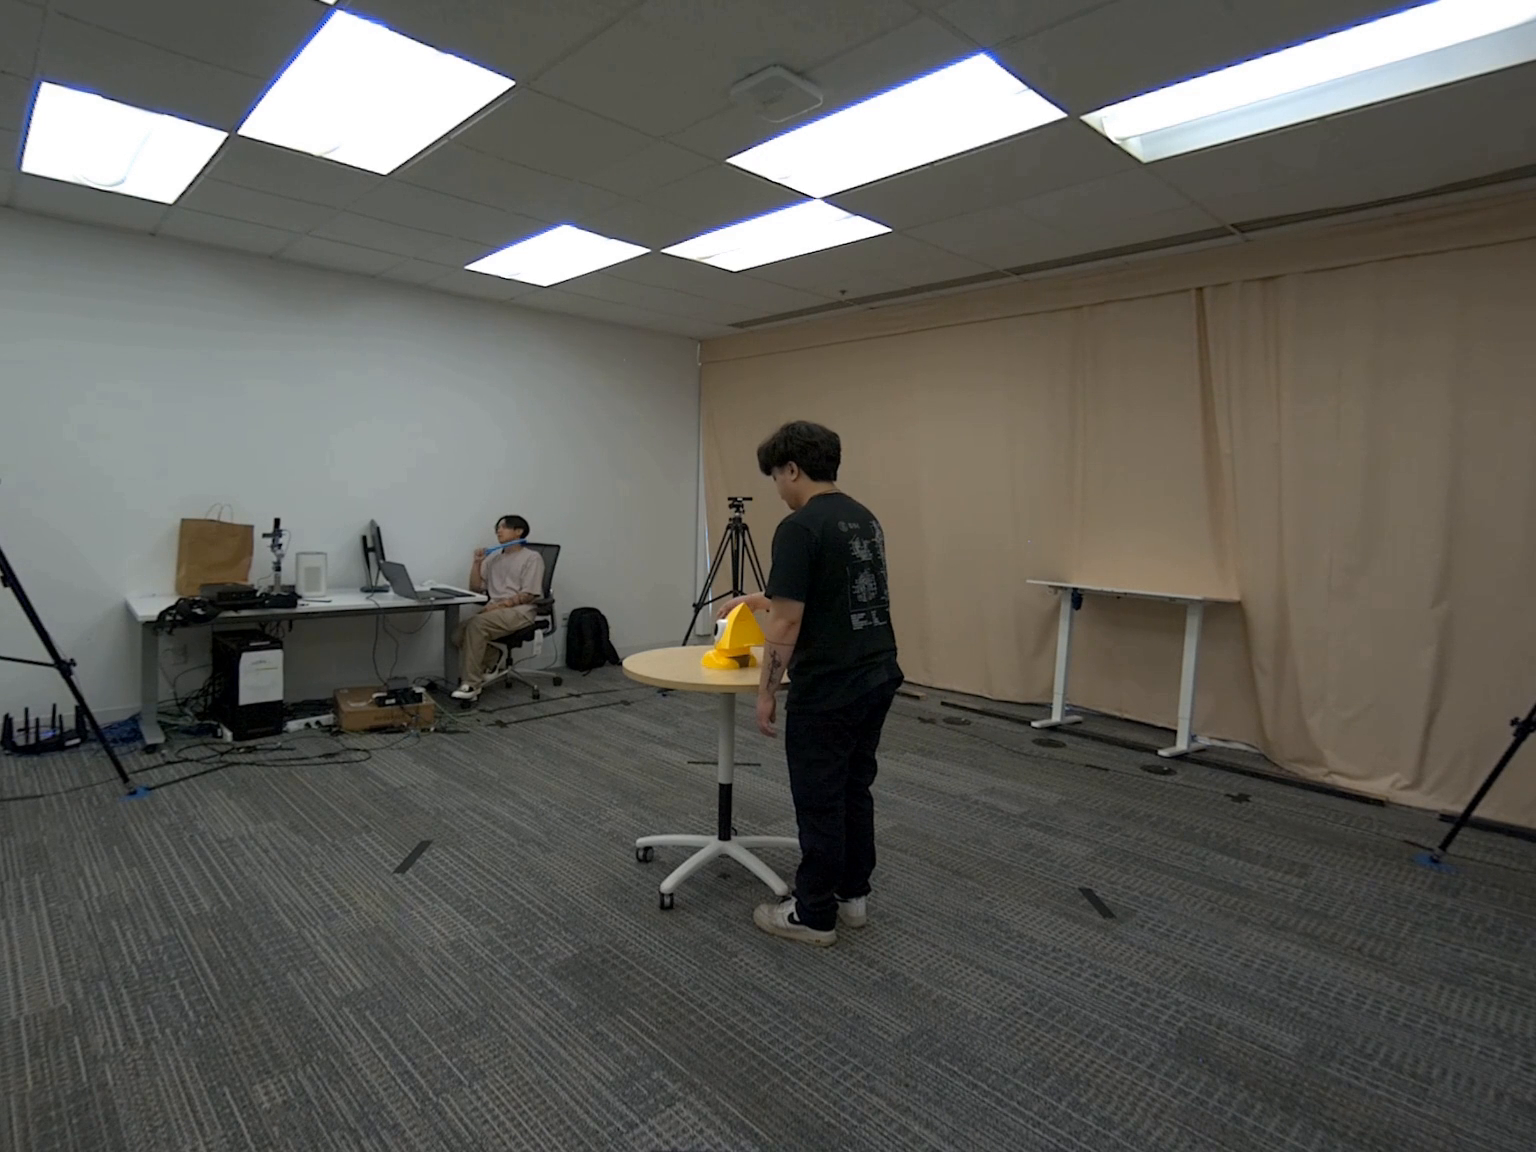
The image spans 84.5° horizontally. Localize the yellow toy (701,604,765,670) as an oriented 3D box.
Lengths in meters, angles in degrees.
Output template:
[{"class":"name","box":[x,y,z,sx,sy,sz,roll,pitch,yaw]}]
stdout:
[{"class":"yellow toy","box":[-0.139,0.207,3.028,0.198,0.230,0.200,4,5,43]}]
